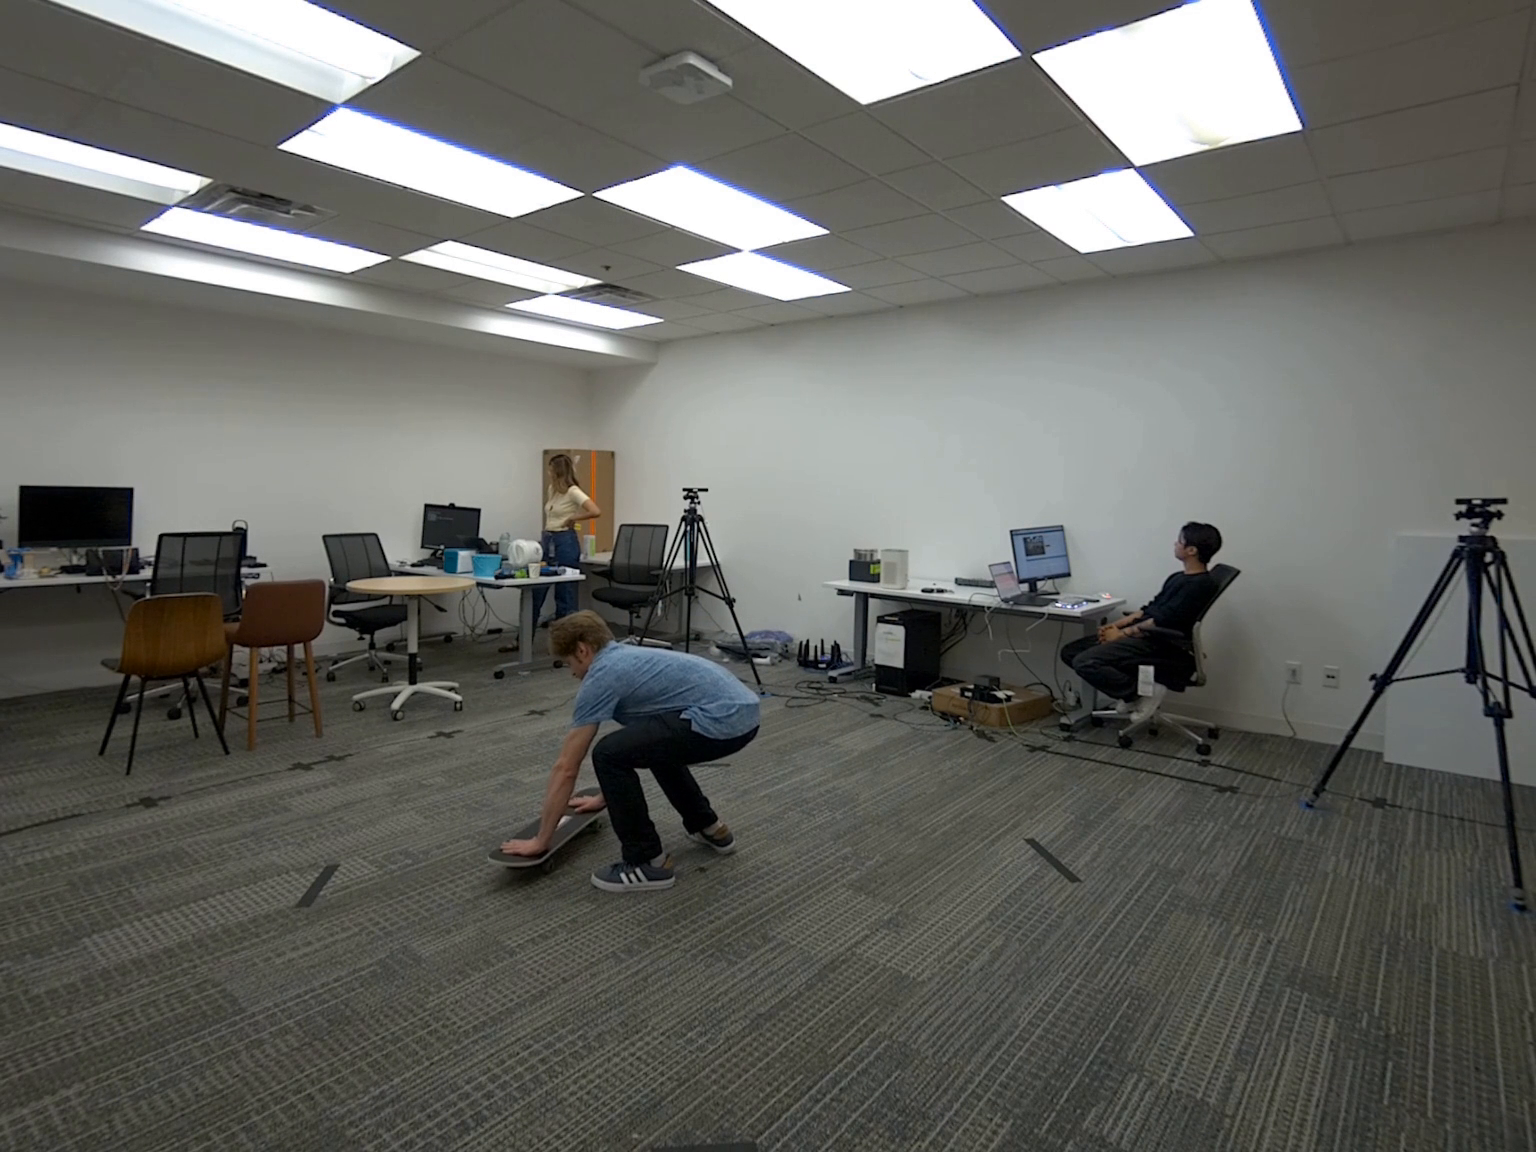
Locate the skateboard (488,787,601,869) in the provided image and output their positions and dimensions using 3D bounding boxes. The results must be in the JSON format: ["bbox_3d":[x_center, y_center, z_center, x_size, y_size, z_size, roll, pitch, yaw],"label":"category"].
[{"bbox_3d":[-0.819,0.987,3.263,0.197,0.110,0.775,2,6,15],"label":"skateboard"}]
